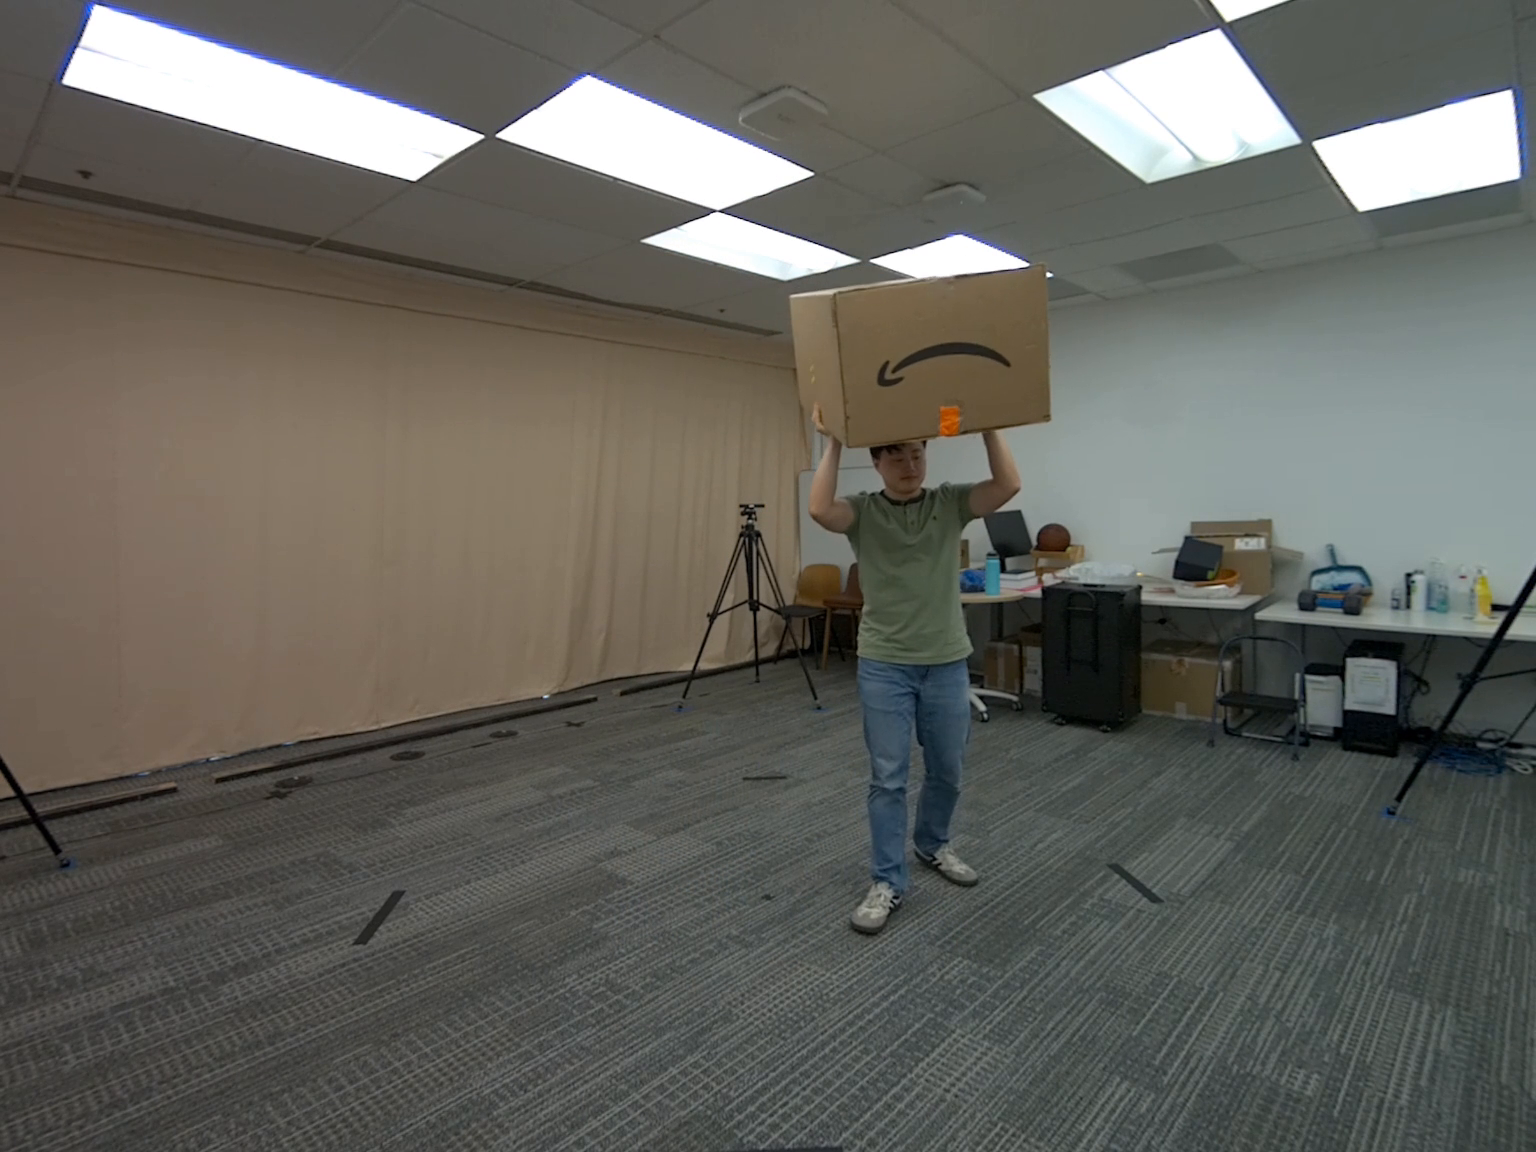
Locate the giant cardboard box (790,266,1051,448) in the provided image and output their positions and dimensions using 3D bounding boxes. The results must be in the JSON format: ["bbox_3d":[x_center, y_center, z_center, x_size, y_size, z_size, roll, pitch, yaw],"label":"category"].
[{"bbox_3d":[0.437,-0.744,2.777,0.577,0.421,1.040,-8,18,-2],"label":"giant cardboard box"}]
